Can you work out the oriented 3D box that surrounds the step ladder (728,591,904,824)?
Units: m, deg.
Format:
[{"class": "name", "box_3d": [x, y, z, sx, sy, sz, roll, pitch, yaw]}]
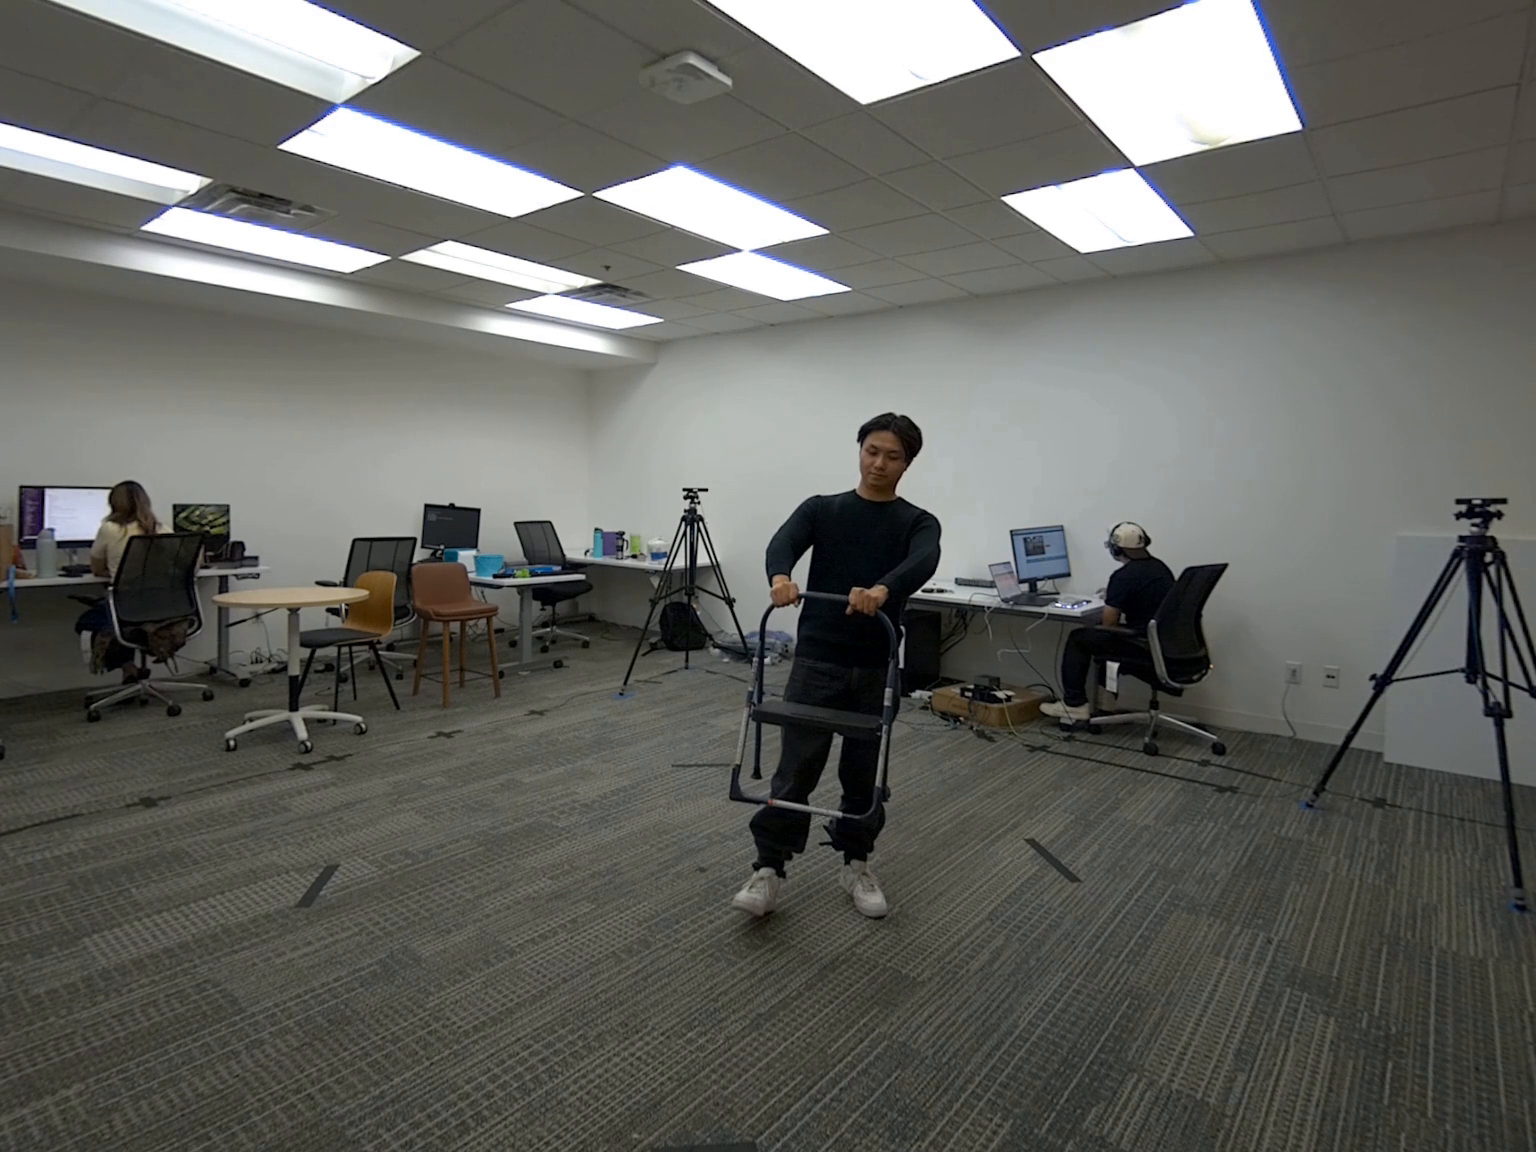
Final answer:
[{"class": "step ladder", "box_3d": [0.147, 0.359, 2.508, 0.438, 0.608, 0.343, 5, -3, 13]}]
